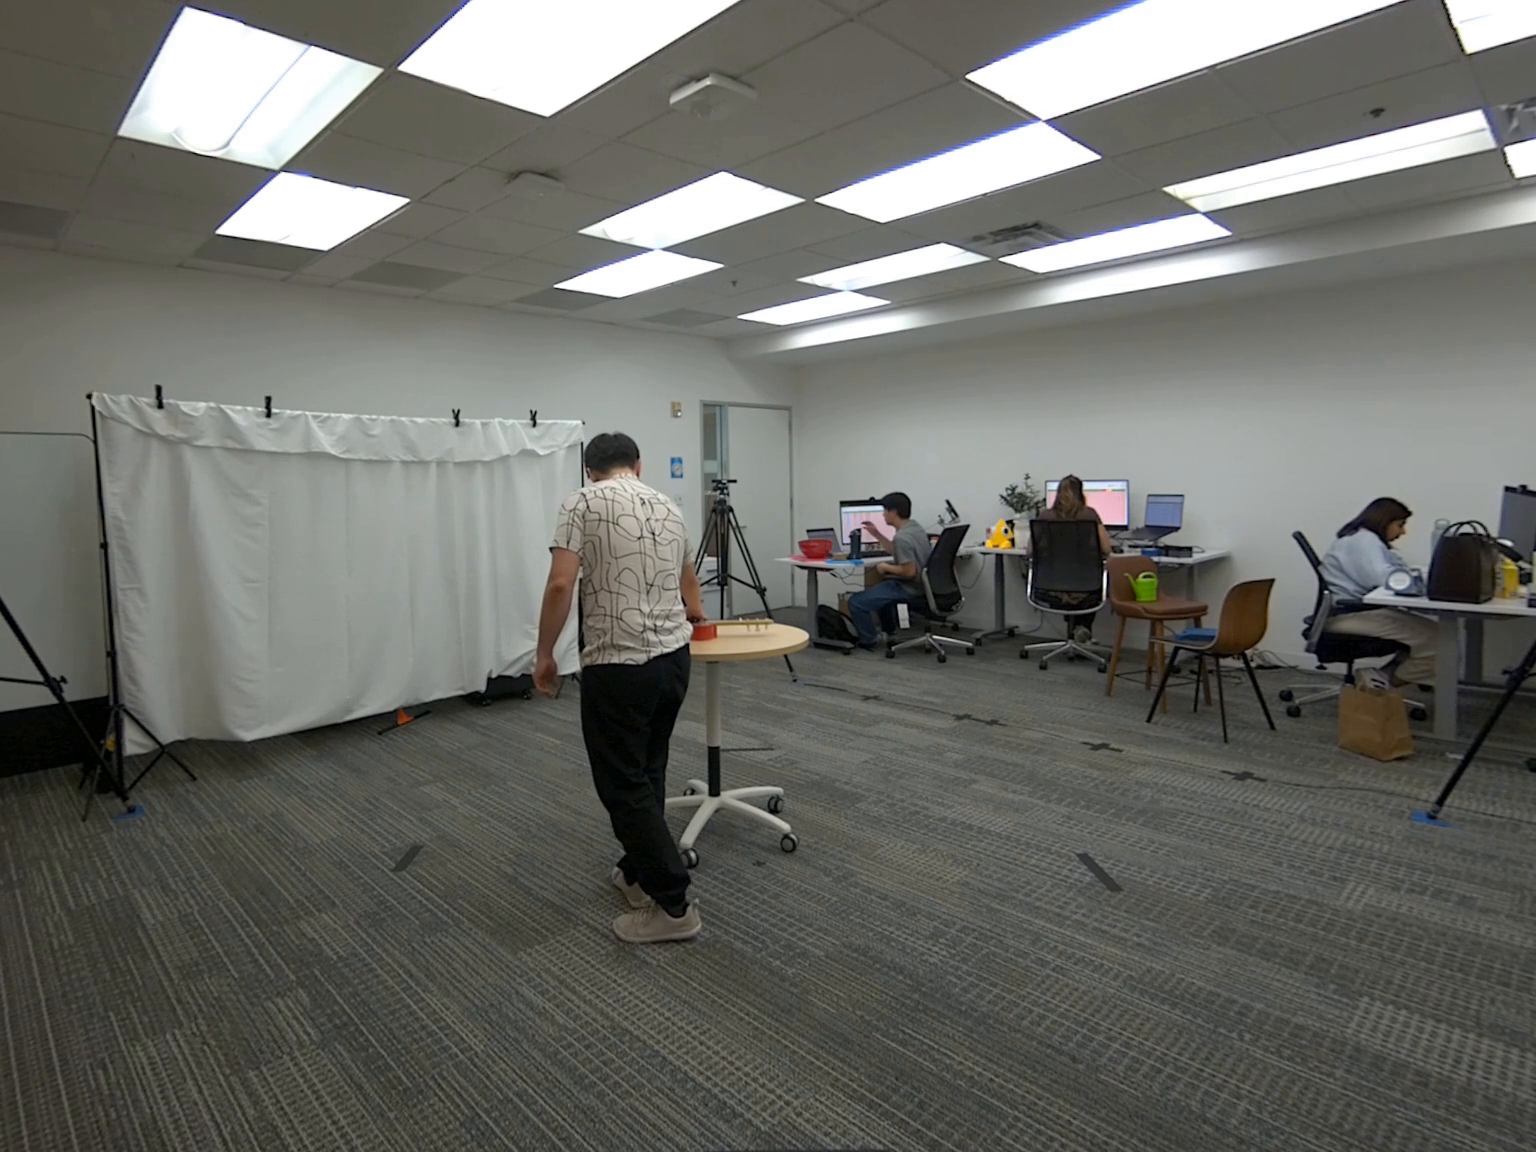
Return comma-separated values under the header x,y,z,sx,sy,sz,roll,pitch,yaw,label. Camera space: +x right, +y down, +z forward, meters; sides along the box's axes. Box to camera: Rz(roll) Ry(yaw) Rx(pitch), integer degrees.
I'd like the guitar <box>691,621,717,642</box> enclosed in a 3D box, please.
x,y,z,sx,sy,sz,roll,pitch,yaw,label
-0.225,0.208,3.308,0.500,0.070,0.192,-1,4,5,guitar
